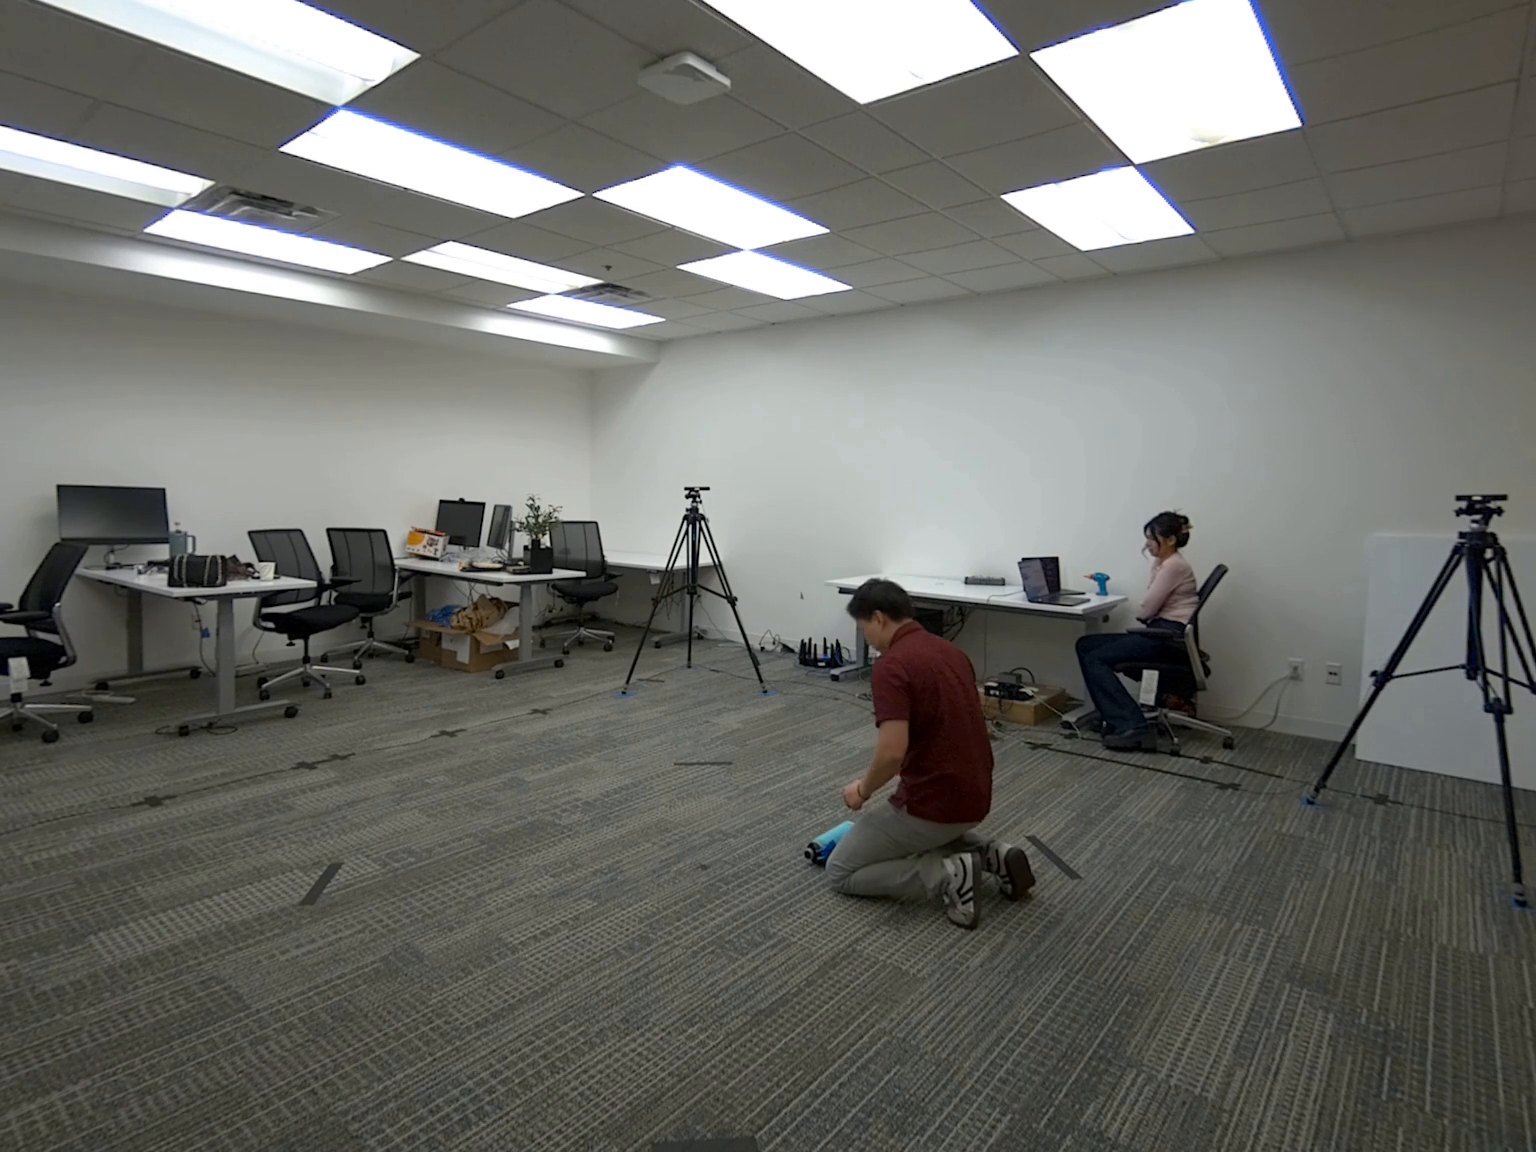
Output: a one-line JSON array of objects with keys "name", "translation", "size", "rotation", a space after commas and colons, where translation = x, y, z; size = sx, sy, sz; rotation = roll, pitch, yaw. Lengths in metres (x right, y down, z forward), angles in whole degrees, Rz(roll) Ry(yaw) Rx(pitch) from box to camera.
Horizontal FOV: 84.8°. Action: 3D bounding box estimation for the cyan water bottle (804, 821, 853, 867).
[{"name": "cyan water bottle", "translation": [0.238, 1.014, 3.243], "size": [0.095, 0.092, 0.275], "rotation": [4, 6, 37]}]
